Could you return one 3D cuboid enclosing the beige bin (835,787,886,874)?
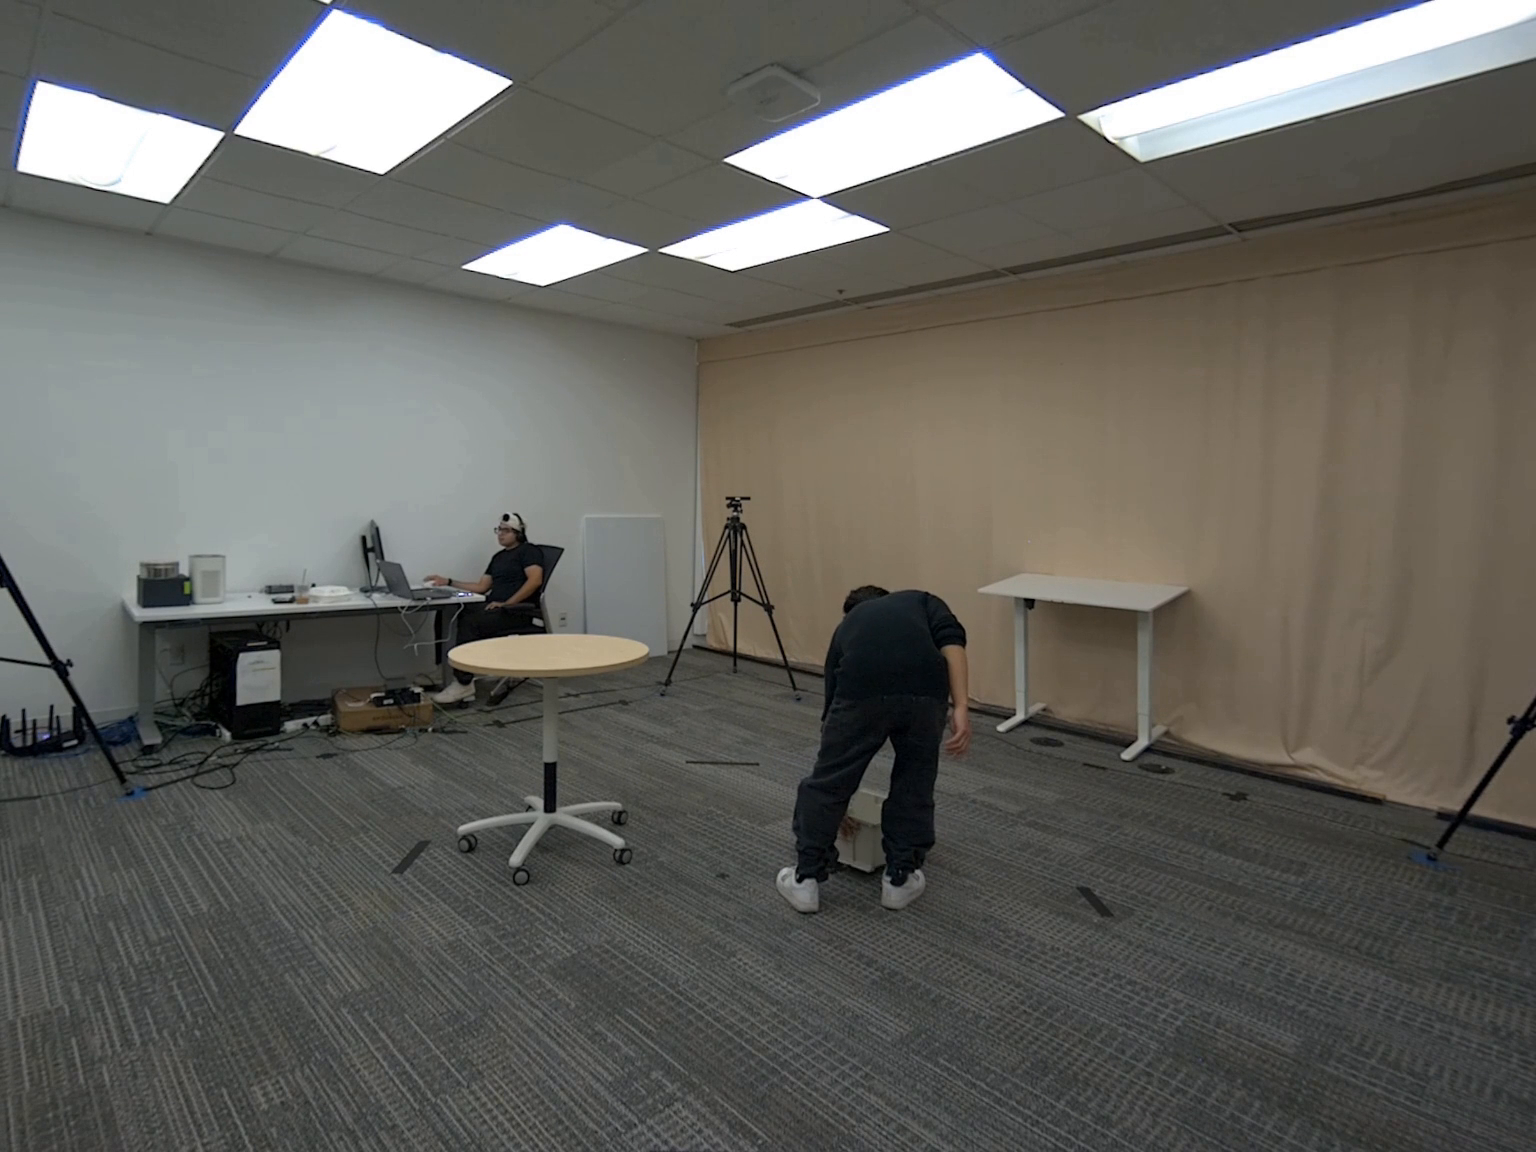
[{"bbox_3d":[0.365,0.986,3.326,0.387,0.189,0.411,6,0,42],"label":"beige bin"}]
